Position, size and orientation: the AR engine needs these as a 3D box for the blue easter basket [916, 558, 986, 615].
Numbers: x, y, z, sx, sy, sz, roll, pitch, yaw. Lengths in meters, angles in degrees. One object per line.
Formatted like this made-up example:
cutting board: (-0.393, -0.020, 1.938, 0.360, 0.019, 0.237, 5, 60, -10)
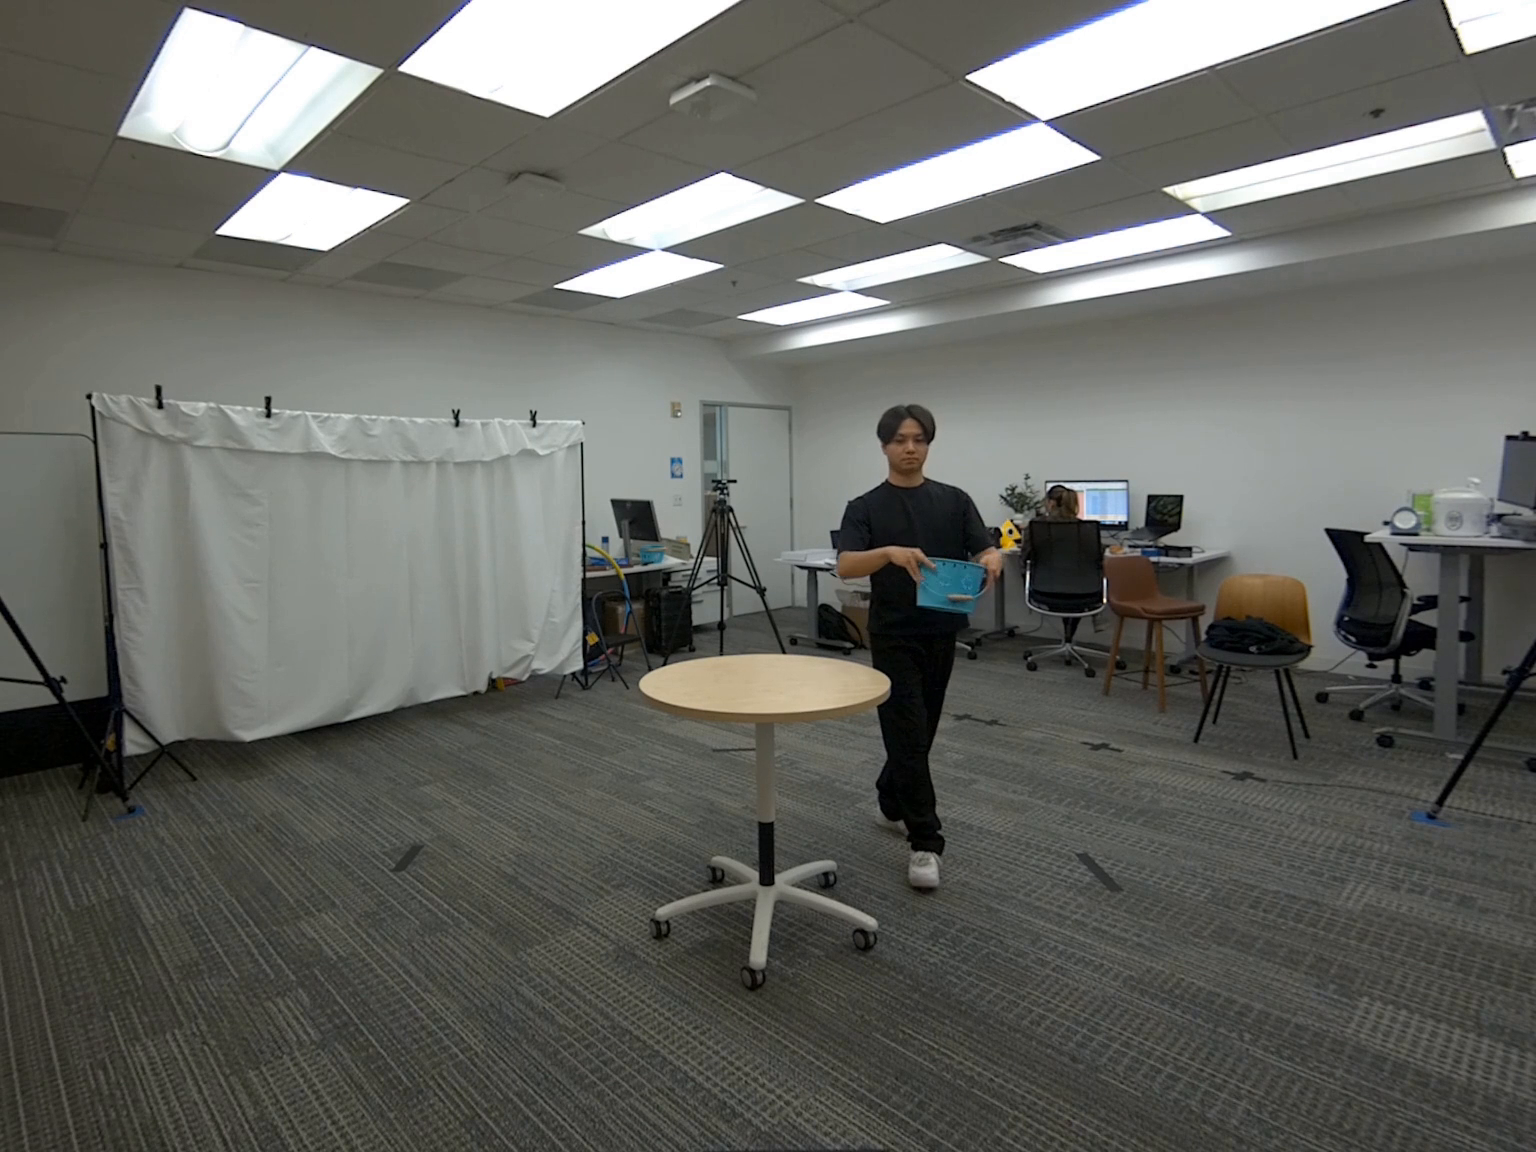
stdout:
blue easter basket: (0.585, 0.030, 2.800, 0.243, 0.156, 0.243, 8, -4, -1)
